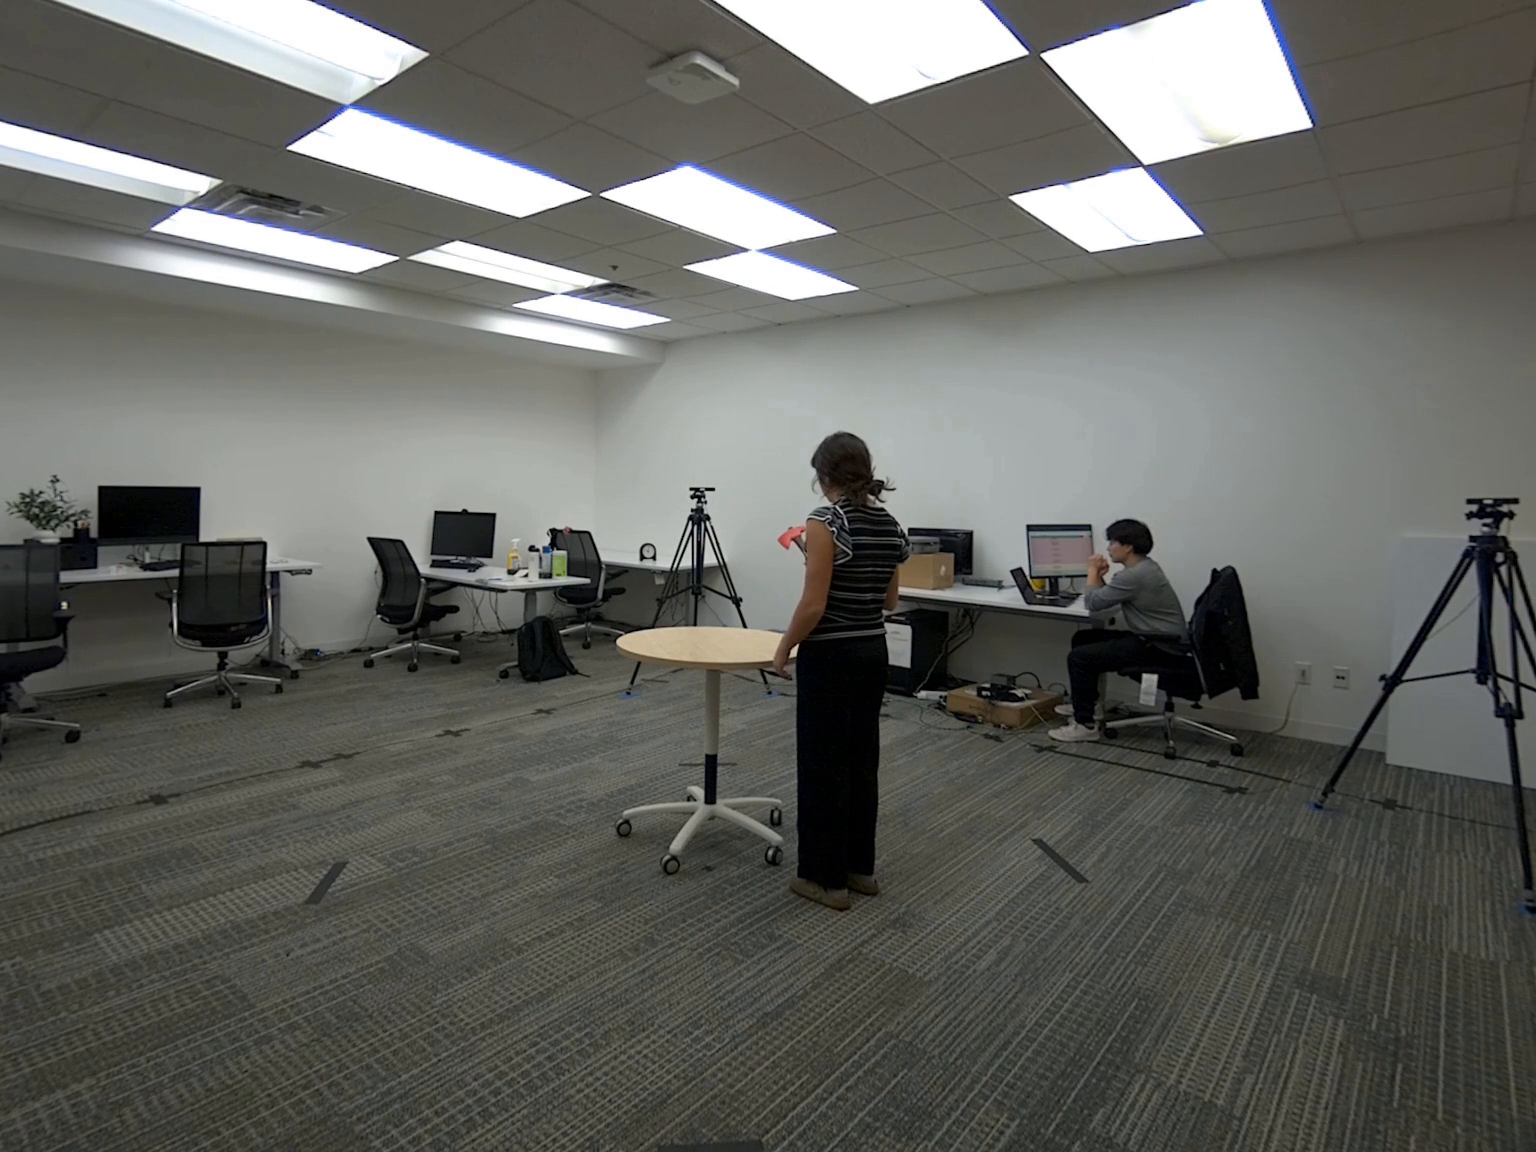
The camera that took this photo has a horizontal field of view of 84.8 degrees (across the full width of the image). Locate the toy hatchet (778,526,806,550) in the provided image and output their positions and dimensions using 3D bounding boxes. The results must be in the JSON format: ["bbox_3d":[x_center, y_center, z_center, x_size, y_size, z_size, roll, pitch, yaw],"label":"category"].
[{"bbox_3d":[0.100,-0.078,3.208,0.131,0.278,0.029,-8,-33,-3],"label":"toy hatchet"}]
